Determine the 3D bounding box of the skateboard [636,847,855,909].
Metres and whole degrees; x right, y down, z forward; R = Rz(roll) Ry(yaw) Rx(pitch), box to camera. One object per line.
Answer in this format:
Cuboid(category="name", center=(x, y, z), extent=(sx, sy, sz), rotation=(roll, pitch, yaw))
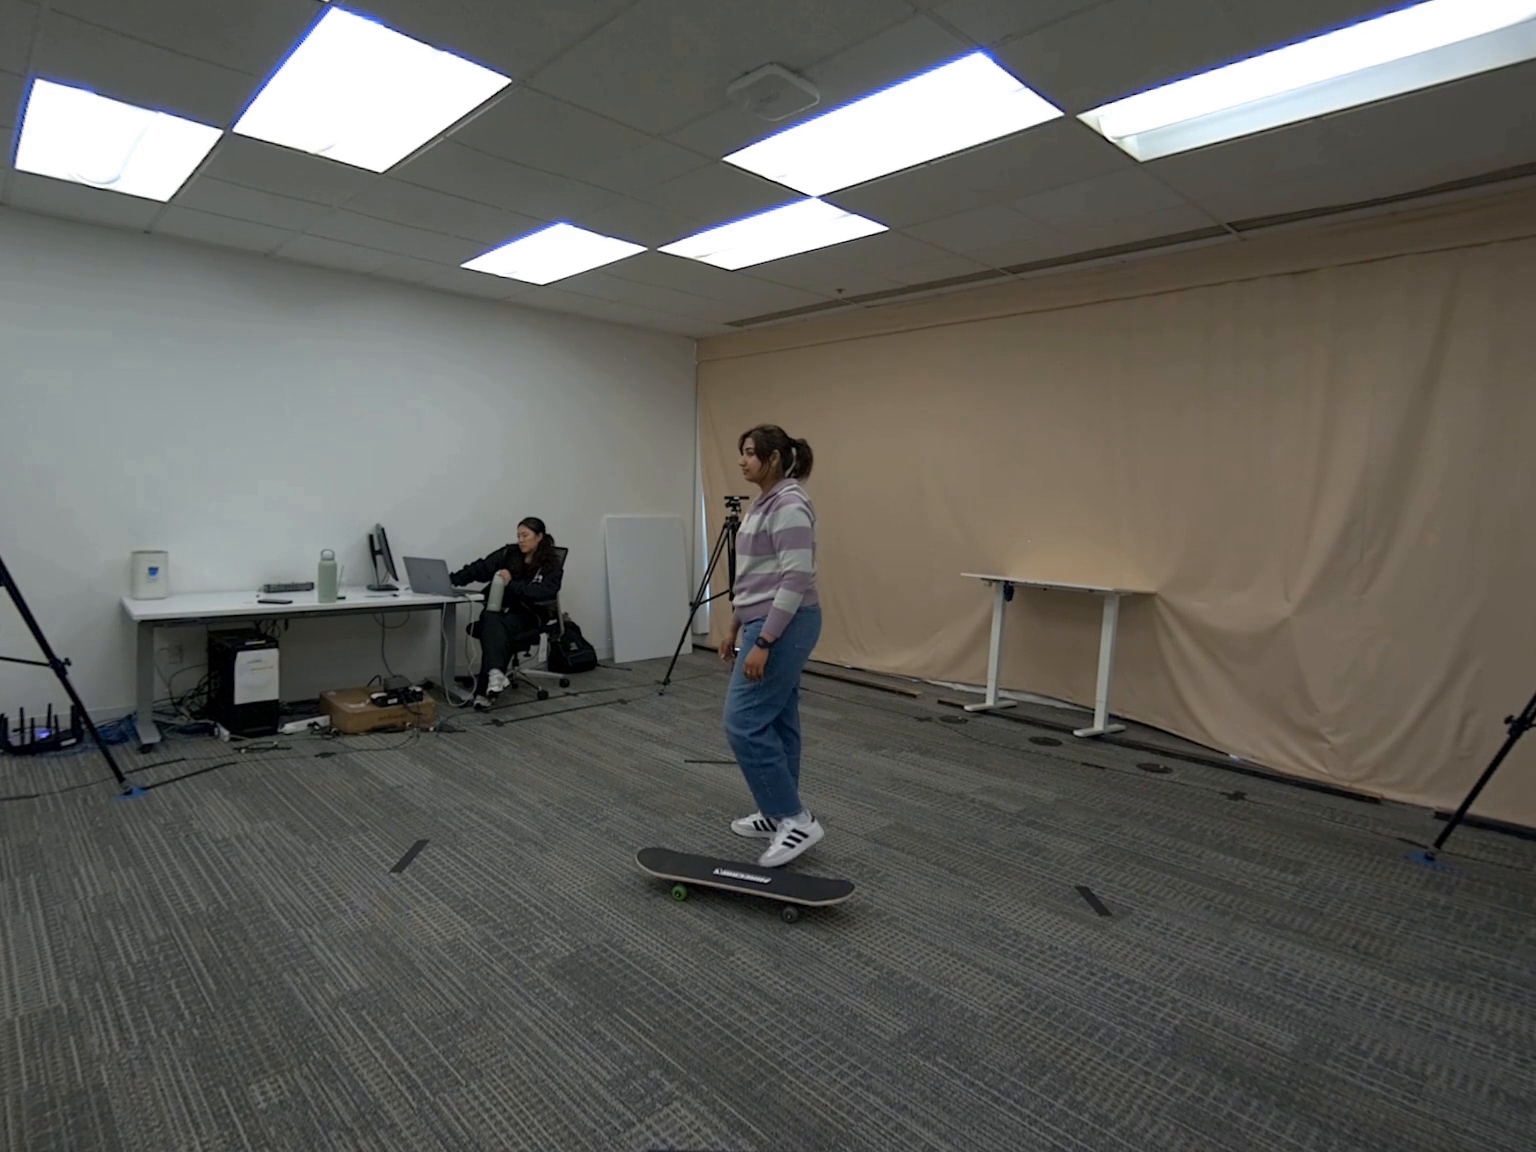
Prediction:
Cuboid(category="skateboard", center=(-0.100, 1.066, 2.903), extent=(0.798, 0.110, 0.191), rotation=(3, 5, 19))
